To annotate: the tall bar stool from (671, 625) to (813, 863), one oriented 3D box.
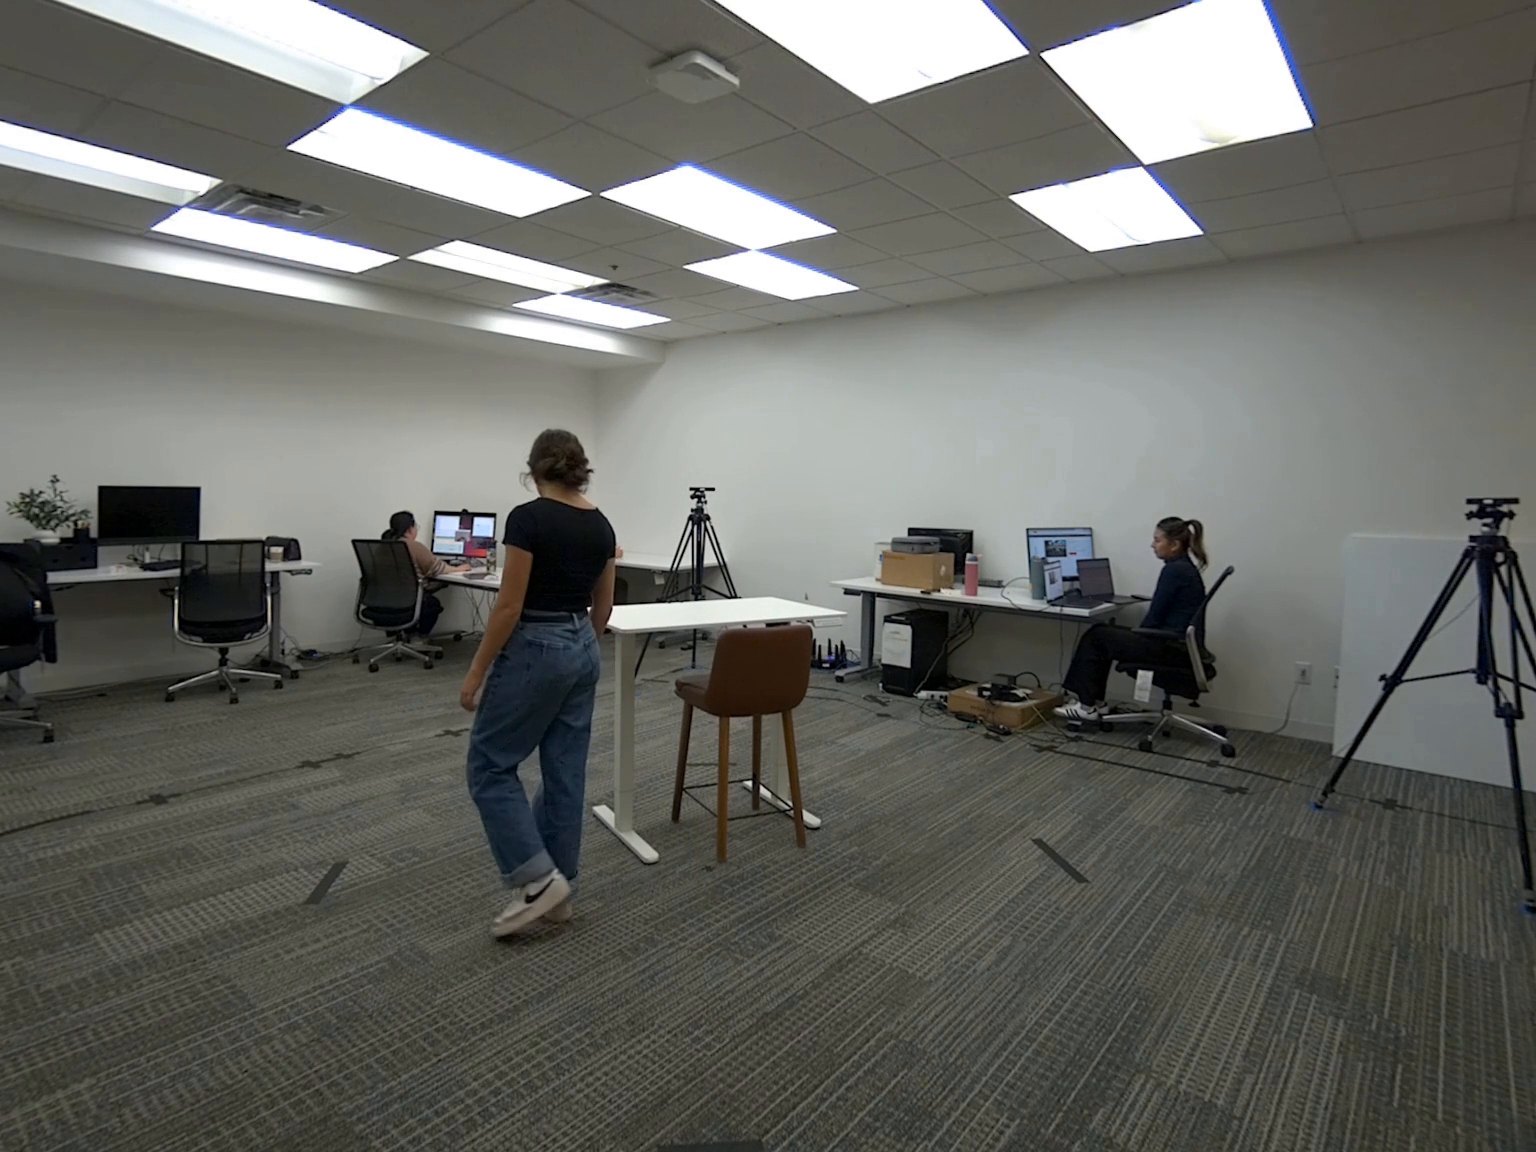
[{"bbox_3d":[-0.114,0.609,3.410,0.445,0.886,0.481,0,5,-27],"label":"tall bar stool"}]
